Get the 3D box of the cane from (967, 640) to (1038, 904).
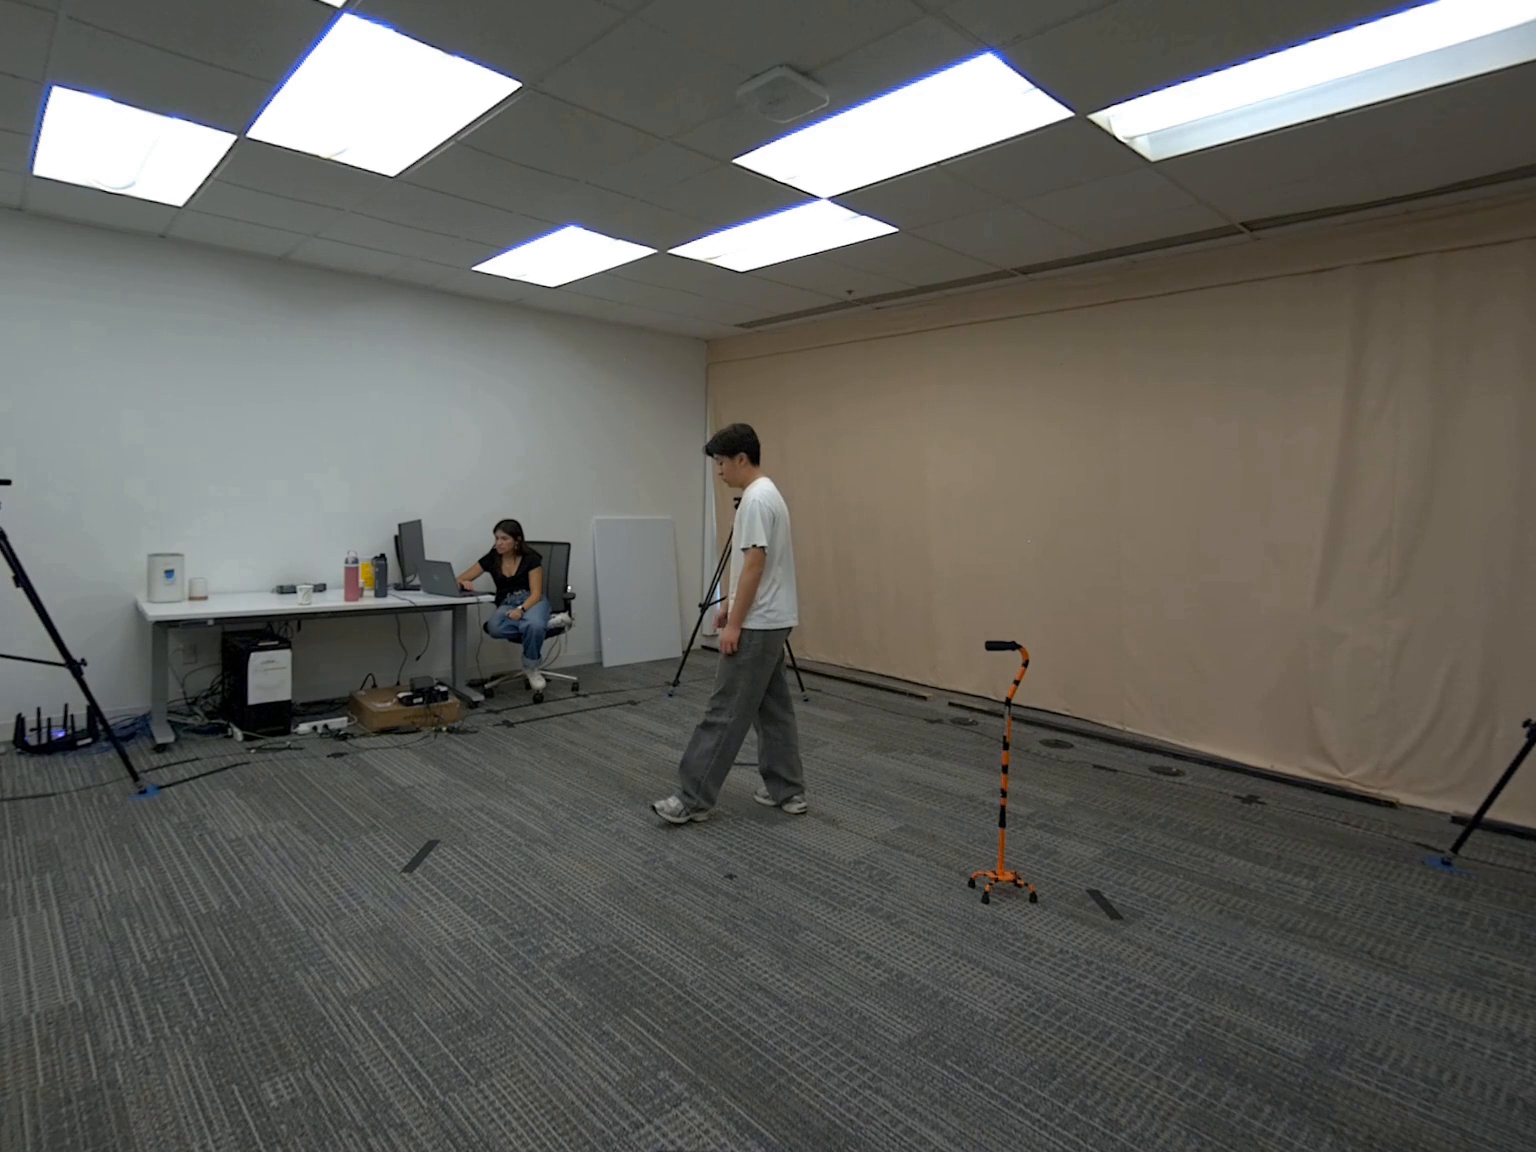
[{"bbox_3d":[0.847,0.687,2.998,0.205,0.906,0.153,2,2,-8],"label":"cane"}]
